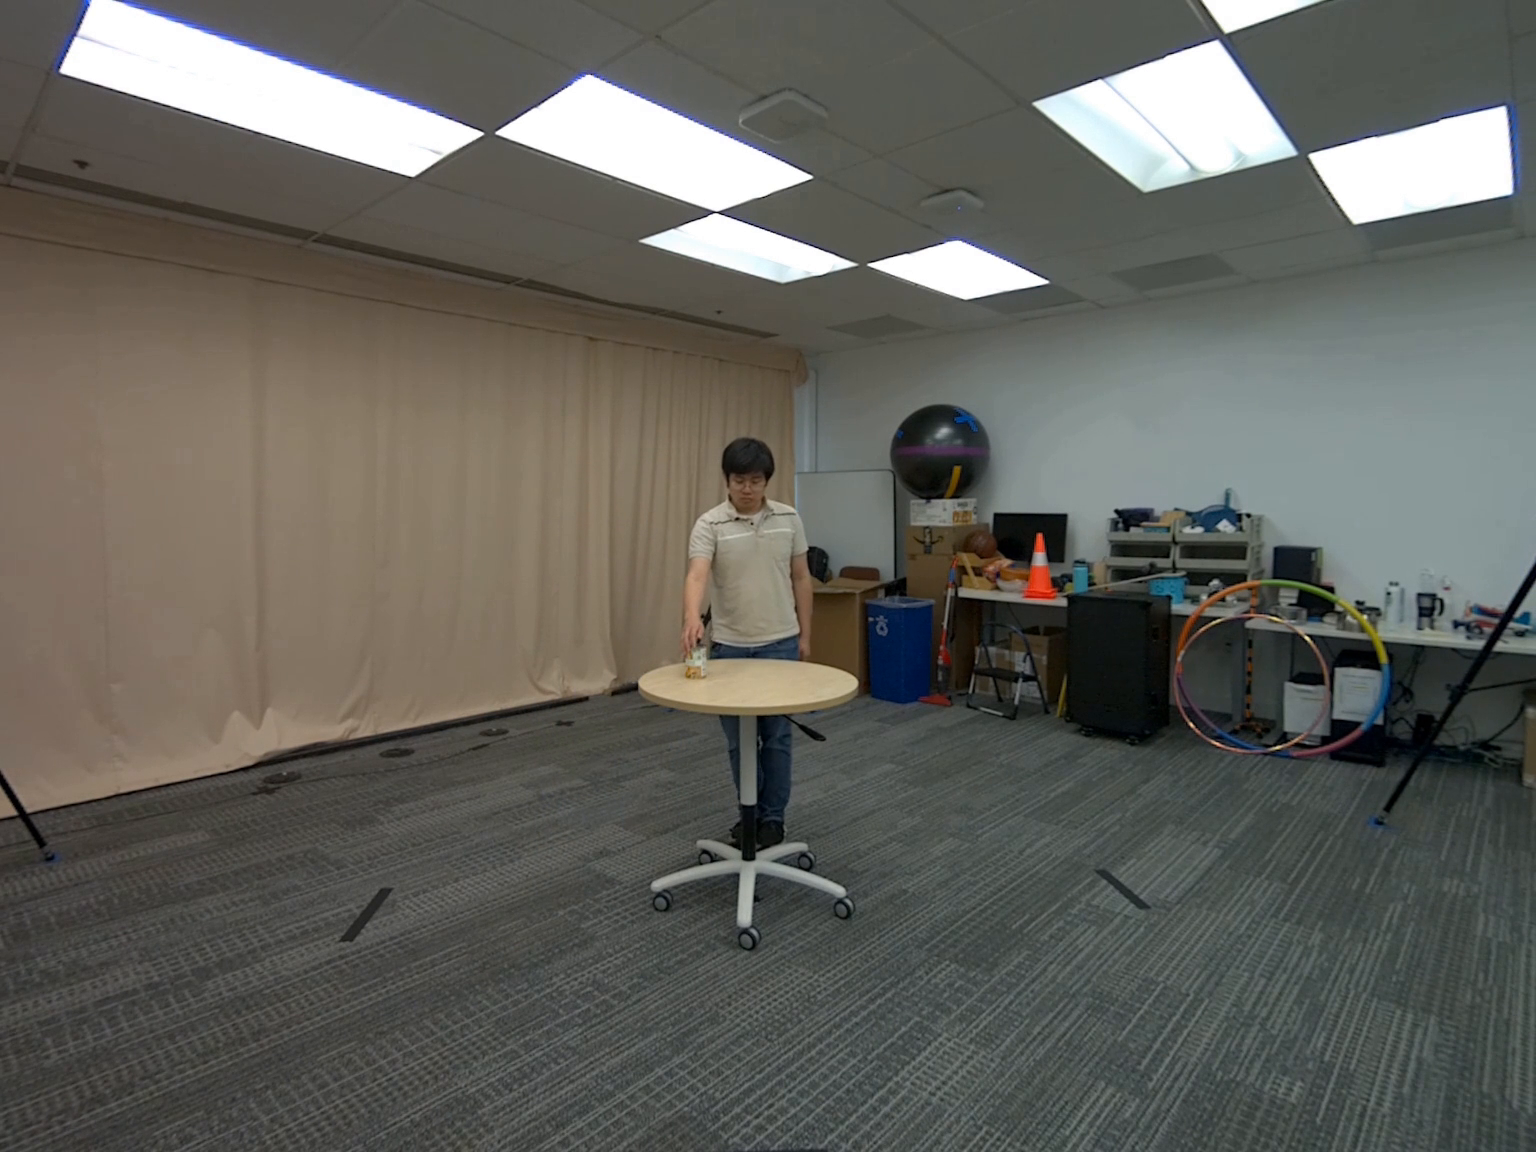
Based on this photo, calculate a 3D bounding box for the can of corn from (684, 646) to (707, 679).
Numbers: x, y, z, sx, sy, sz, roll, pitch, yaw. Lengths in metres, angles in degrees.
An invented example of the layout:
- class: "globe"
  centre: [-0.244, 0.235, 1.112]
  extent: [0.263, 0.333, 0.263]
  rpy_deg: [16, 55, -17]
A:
- class: "can of corn"
  centre: [-0.261, 0.305, 2.999]
  extent: [0.074, 0.111, 0.074]
  rpy_deg: [-4, 1, -2]
